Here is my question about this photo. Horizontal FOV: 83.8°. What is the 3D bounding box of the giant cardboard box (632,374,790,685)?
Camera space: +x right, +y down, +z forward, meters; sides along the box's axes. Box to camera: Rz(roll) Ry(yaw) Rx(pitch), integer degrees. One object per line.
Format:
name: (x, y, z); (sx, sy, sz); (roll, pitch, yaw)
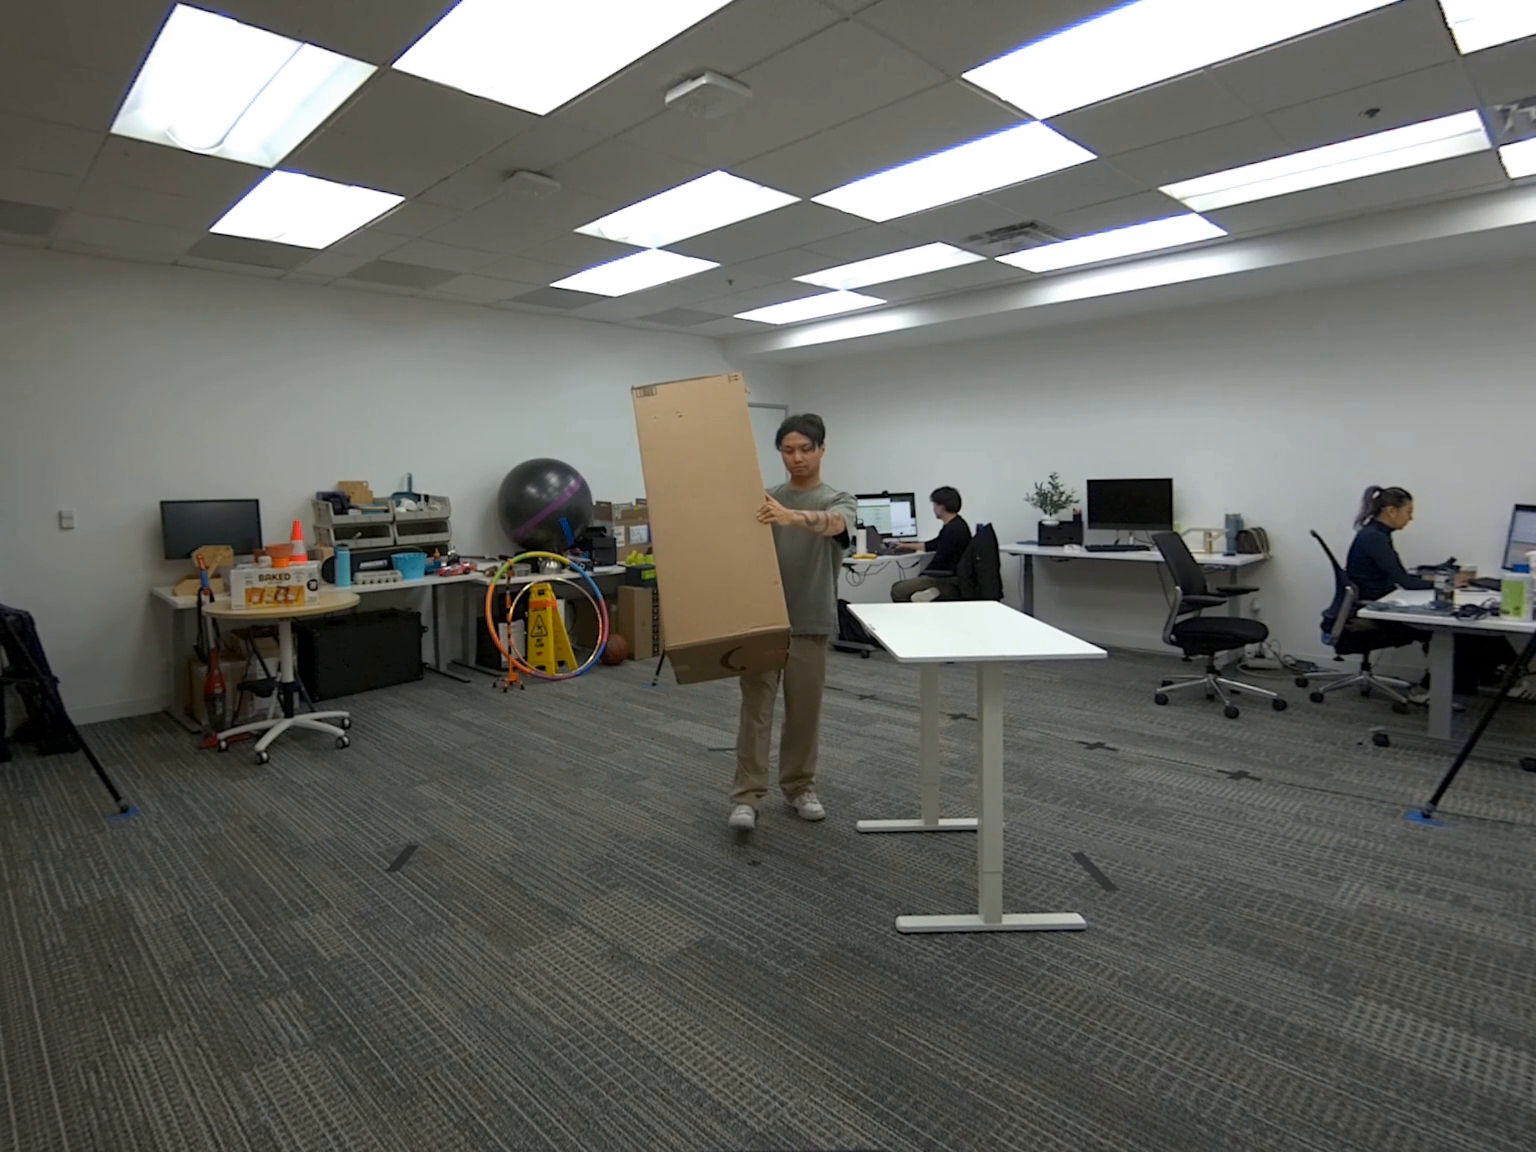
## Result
giant cardboard box: (-0.224, -0.170, 3.267); (0.425, 1.049, 0.566); (-9, -21, -4)
